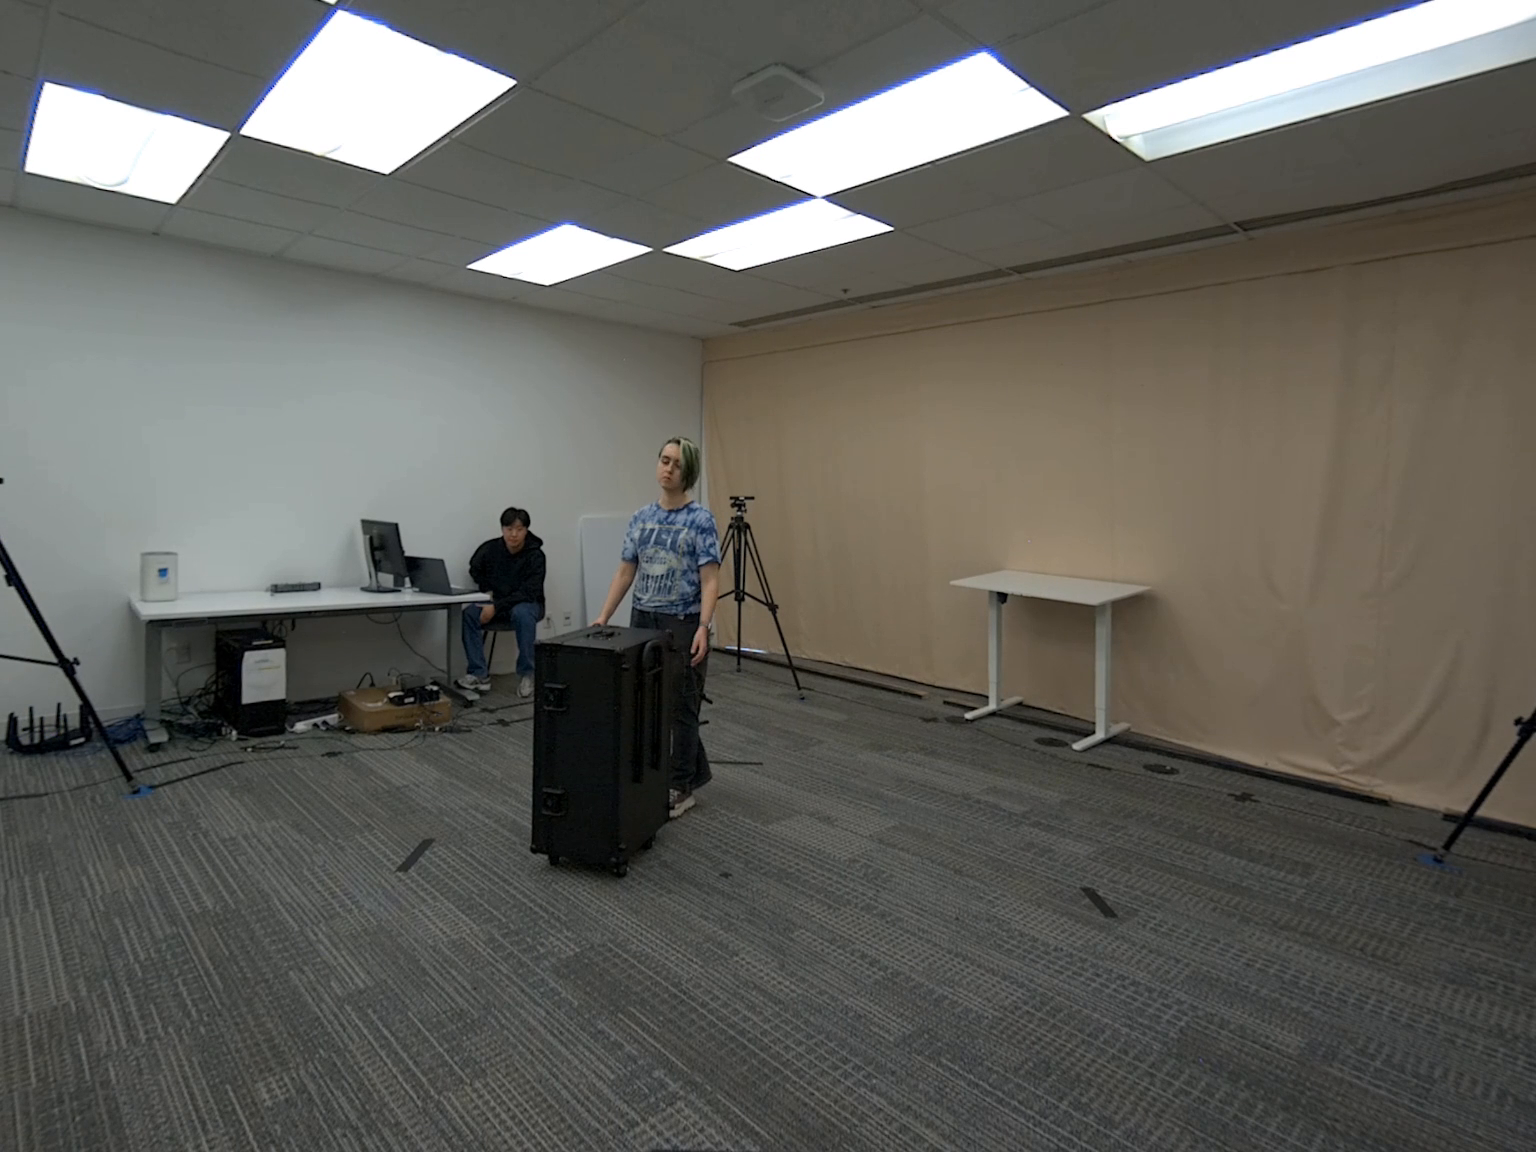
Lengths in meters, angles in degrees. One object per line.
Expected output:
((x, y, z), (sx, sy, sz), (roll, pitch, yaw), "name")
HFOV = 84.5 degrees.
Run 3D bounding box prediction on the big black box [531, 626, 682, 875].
((-0.626, 0.661, 3.248), (0.402, 0.859, 0.515), (3, 3, 17), "big black box")
